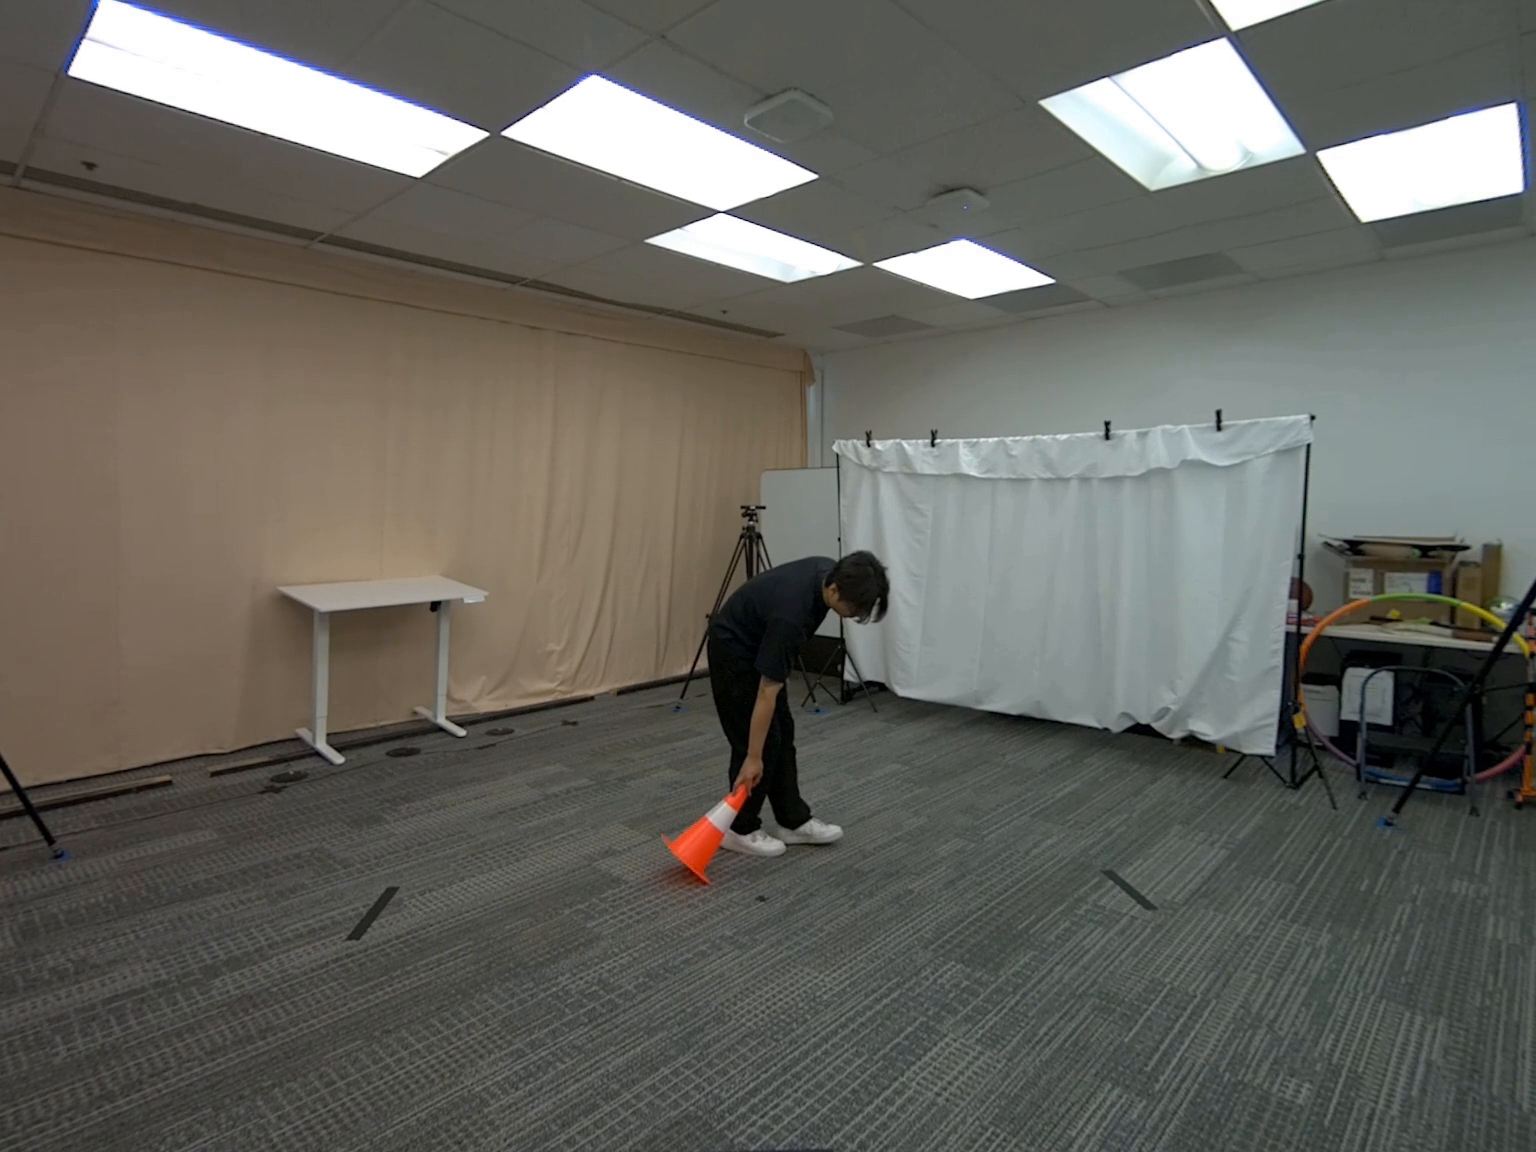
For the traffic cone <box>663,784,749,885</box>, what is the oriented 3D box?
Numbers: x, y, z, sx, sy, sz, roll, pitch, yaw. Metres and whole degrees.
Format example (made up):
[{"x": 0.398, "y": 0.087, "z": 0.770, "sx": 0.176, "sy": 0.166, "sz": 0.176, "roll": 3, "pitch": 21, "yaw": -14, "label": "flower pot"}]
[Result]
[{"x": -0.191, "y": 0.926, "z": 3.184, "sx": 0.201, "sy": 0.383, "sz": 0.207, "roll": 44, "pitch": -9, "yaw": -16, "label": "traffic cone"}]
